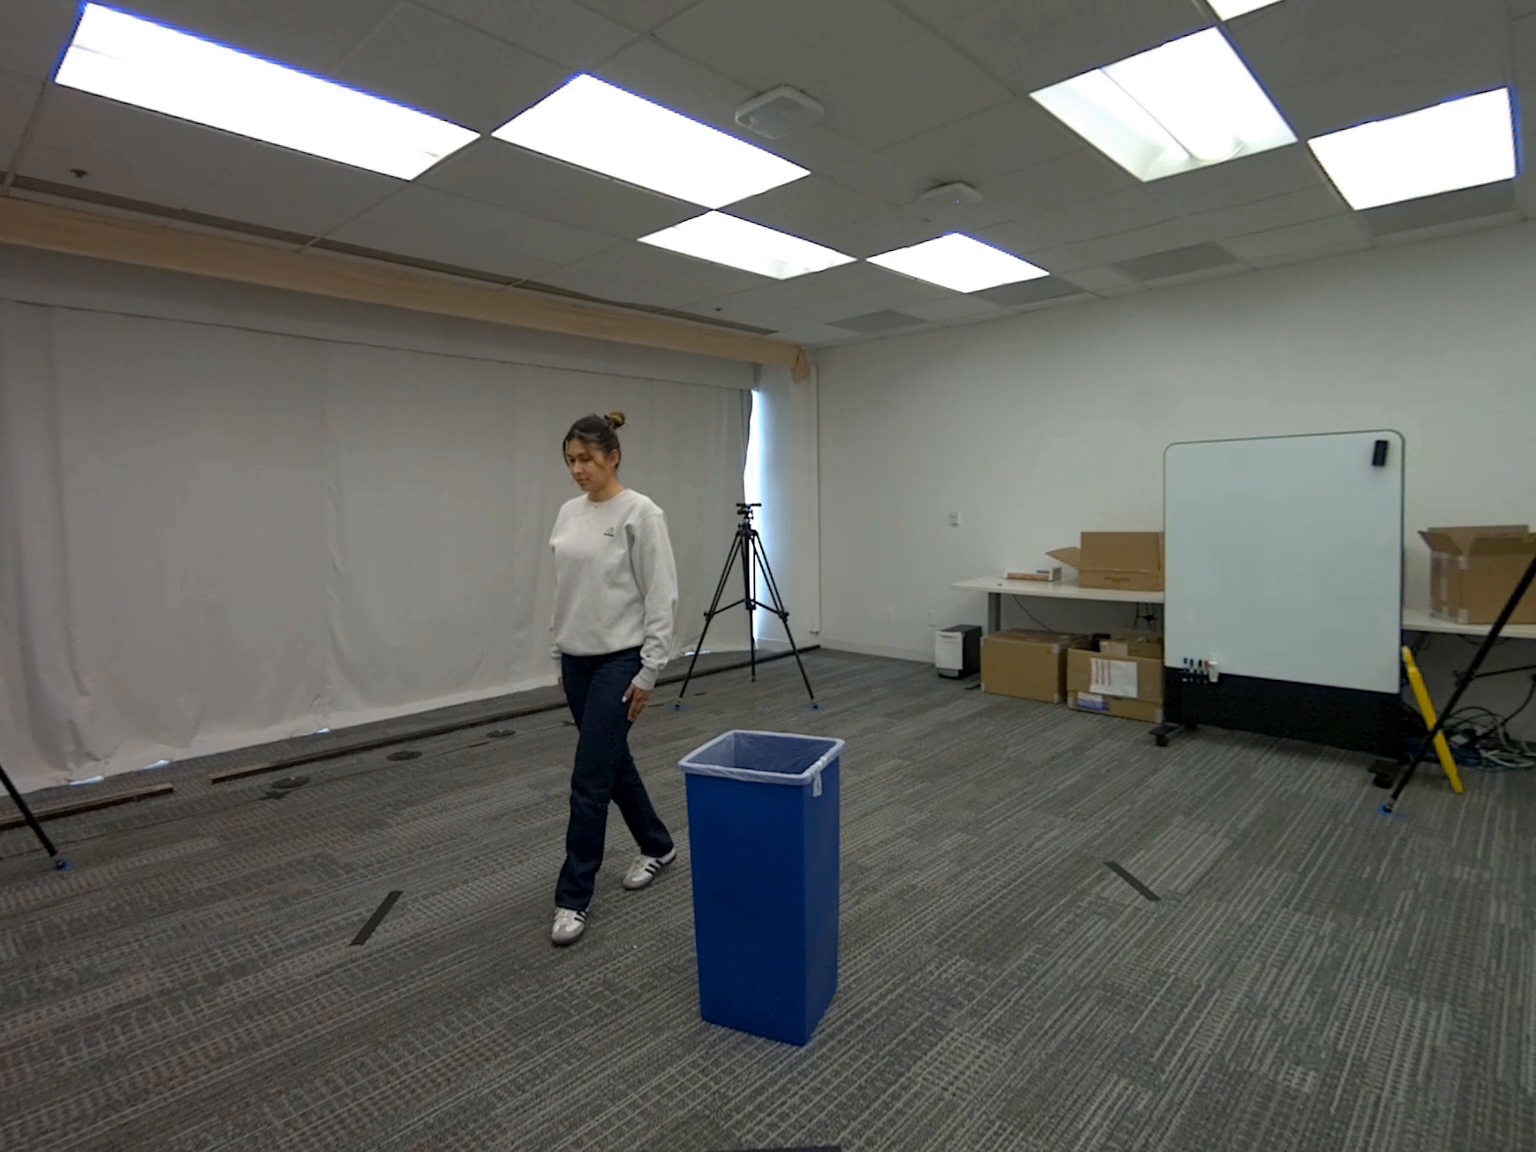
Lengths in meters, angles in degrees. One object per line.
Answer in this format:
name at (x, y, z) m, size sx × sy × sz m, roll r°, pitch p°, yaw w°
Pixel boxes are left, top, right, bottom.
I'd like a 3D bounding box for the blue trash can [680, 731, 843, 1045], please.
blue trash can at (-0.001, 0.837, 2.328) m, size 0.383 × 0.712 × 0.370 m, roll 0°, pitch 3°, yaw 23°
